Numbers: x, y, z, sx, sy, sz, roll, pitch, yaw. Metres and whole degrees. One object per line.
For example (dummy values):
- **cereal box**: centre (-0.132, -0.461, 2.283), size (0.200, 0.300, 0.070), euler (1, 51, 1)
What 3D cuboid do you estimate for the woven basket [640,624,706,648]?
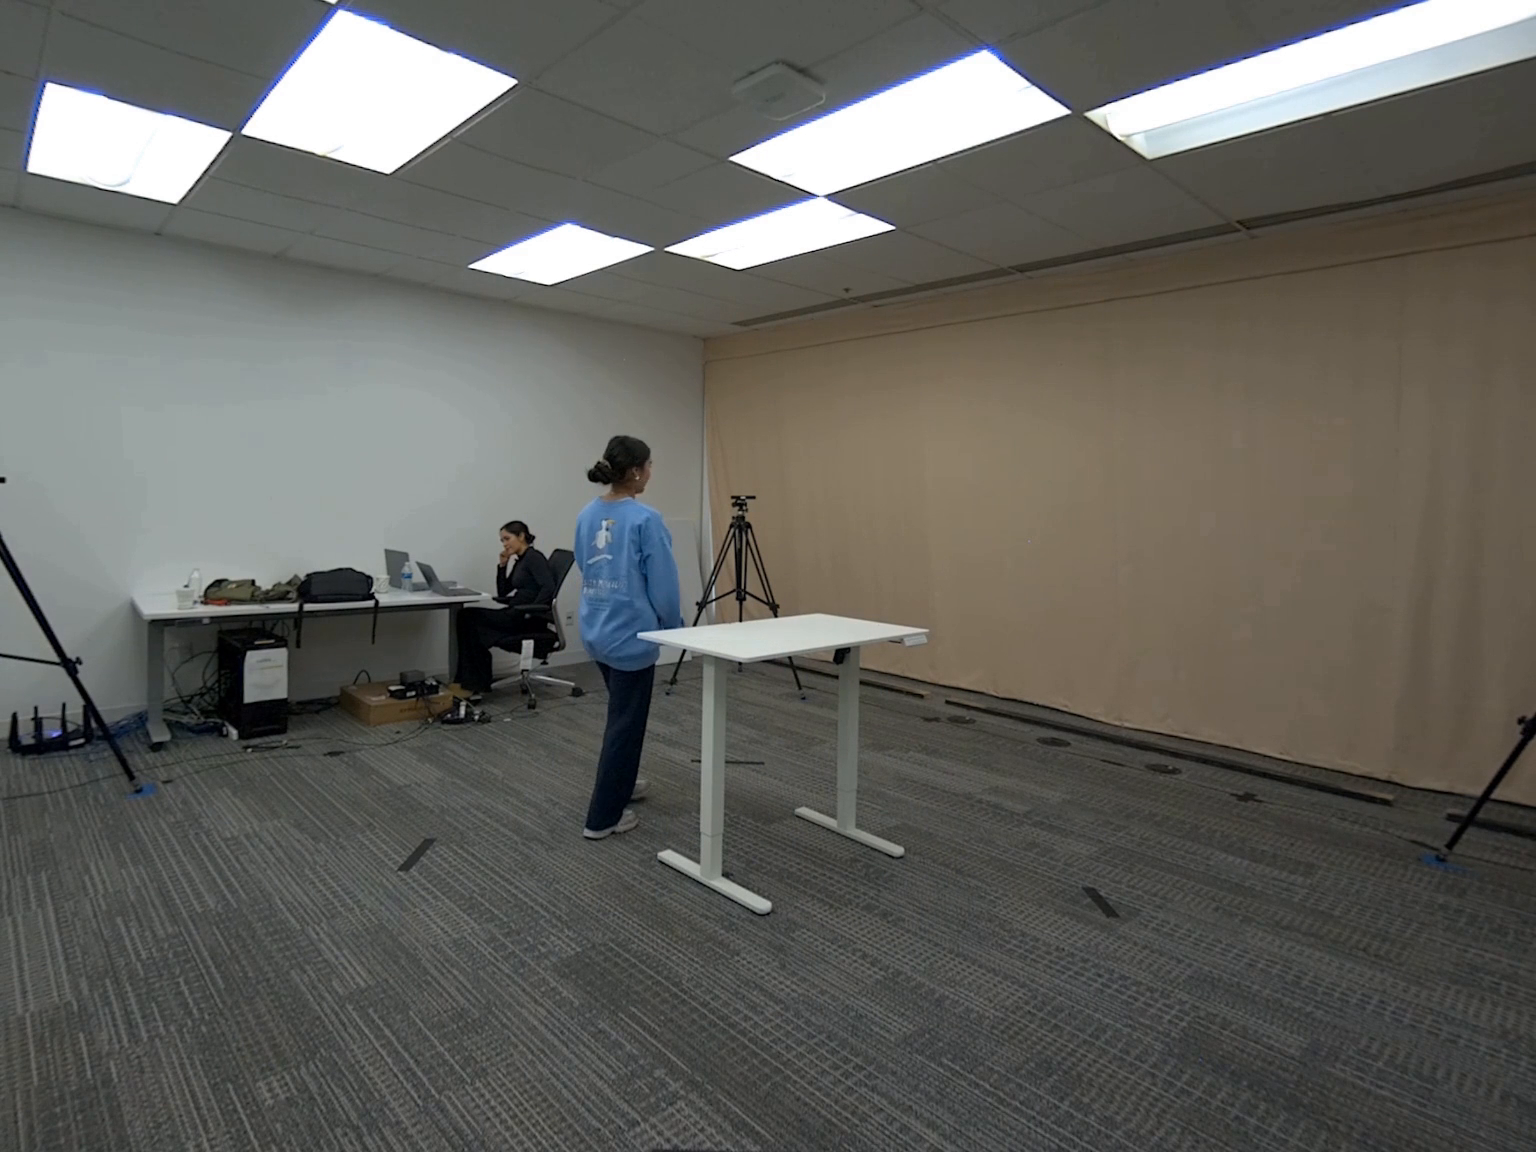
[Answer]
- **woven basket**: centre (-0.489, 0.255, 3.760), size (0.258, 0.073, 0.342), euler (5, 2, 34)
